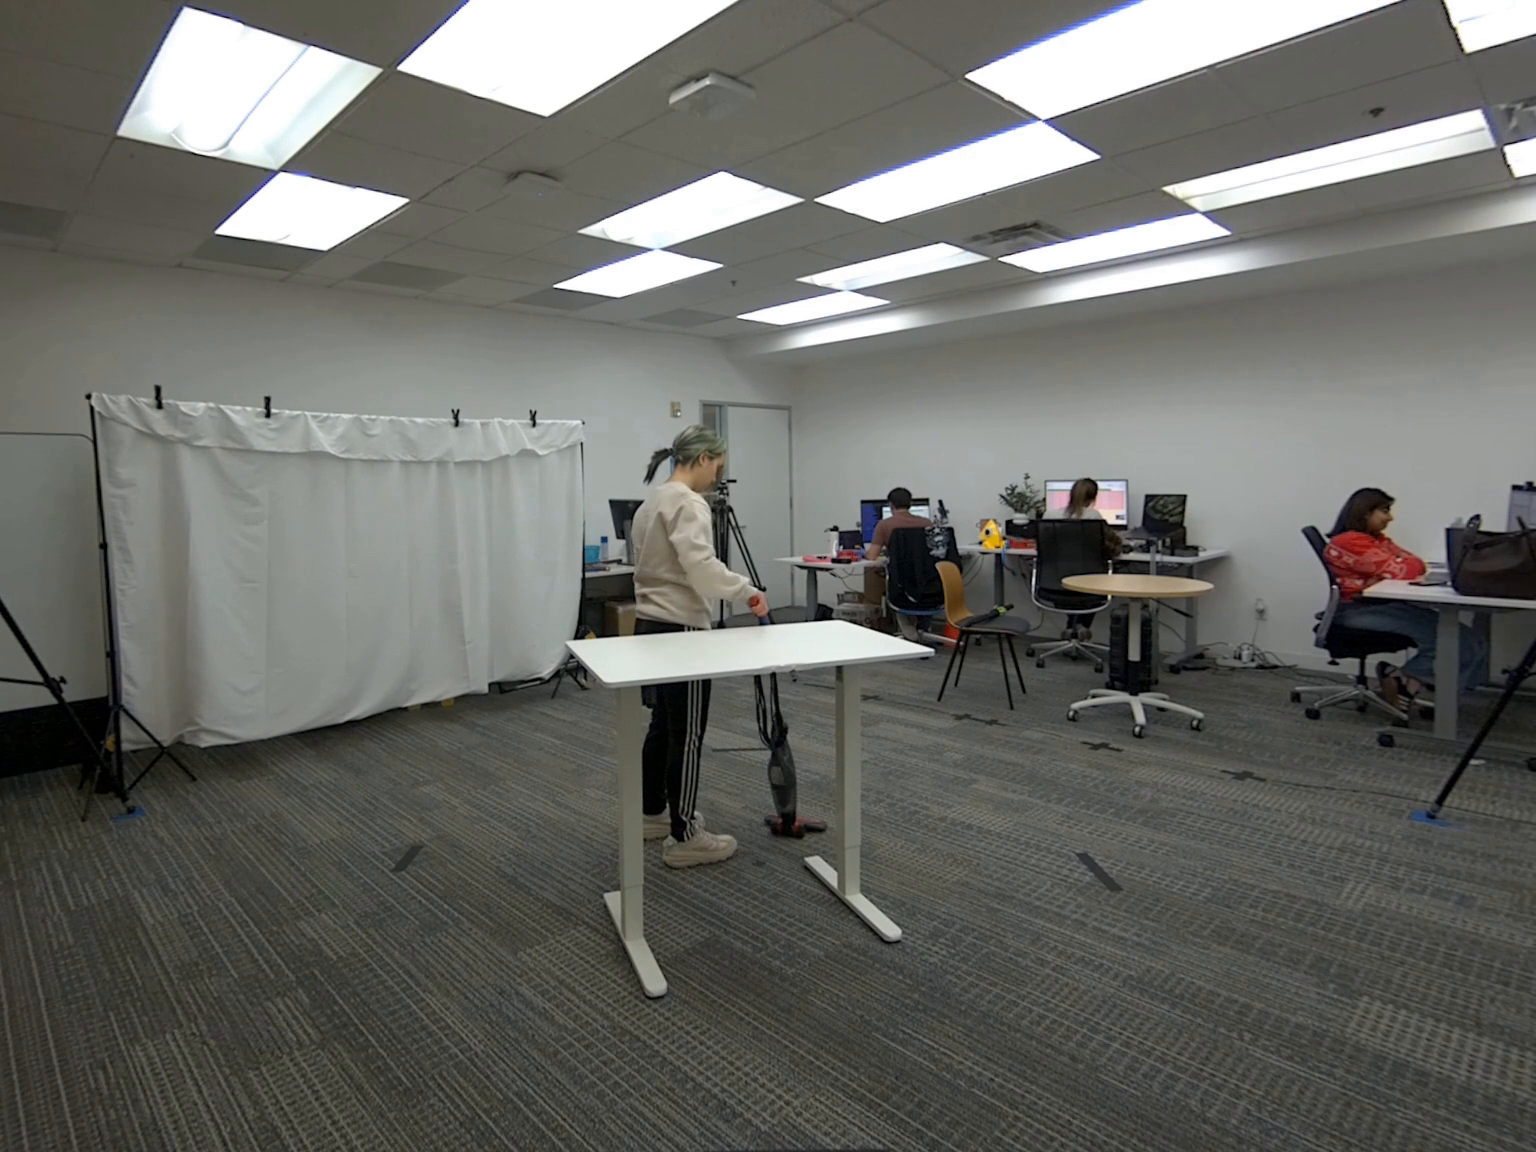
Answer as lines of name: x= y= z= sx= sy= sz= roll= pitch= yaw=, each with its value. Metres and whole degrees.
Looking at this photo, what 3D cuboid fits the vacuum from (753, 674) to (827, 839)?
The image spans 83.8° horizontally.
vacuum: x=0.021 y=0.545 z=3.207 sx=0.258 sy=1.025 sz=0.144 roll=1 pitch=26 yaw=26
